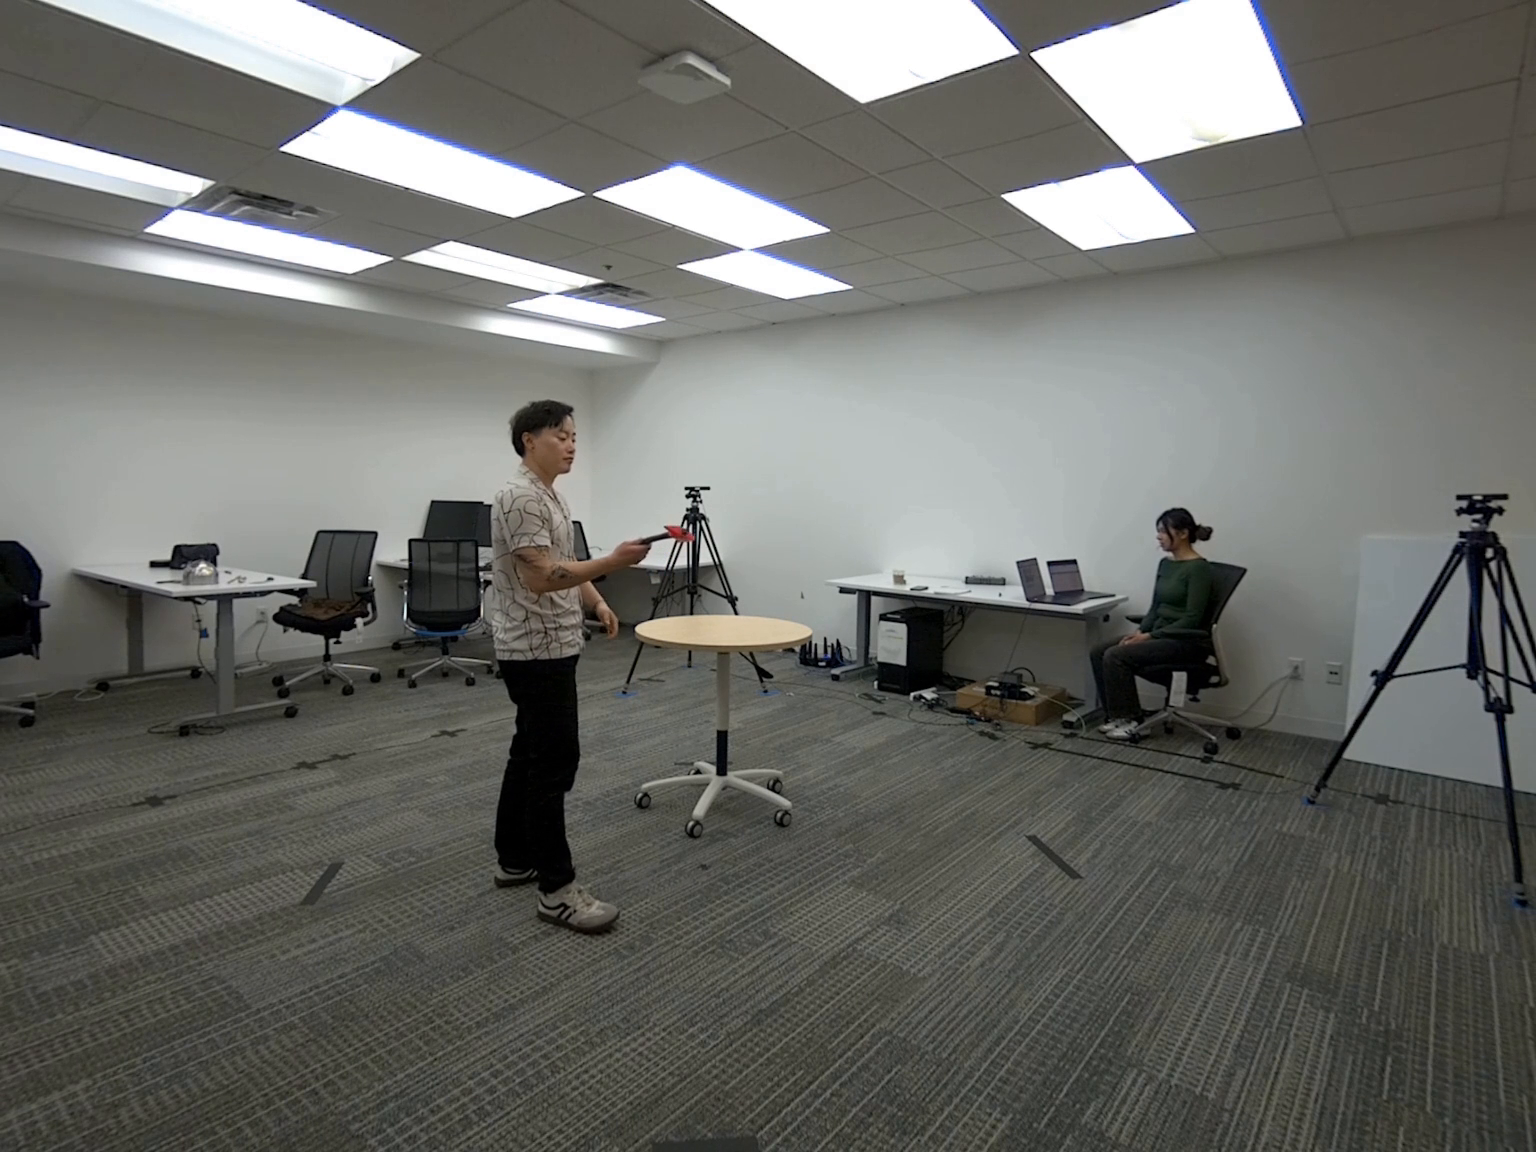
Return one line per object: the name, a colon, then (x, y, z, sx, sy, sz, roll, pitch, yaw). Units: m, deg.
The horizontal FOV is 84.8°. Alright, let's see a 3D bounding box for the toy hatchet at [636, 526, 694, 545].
toy hatchet: (-0.353, -0.112, 2.698, 0.127, 0.030, 0.274, 15, -22, -32)
